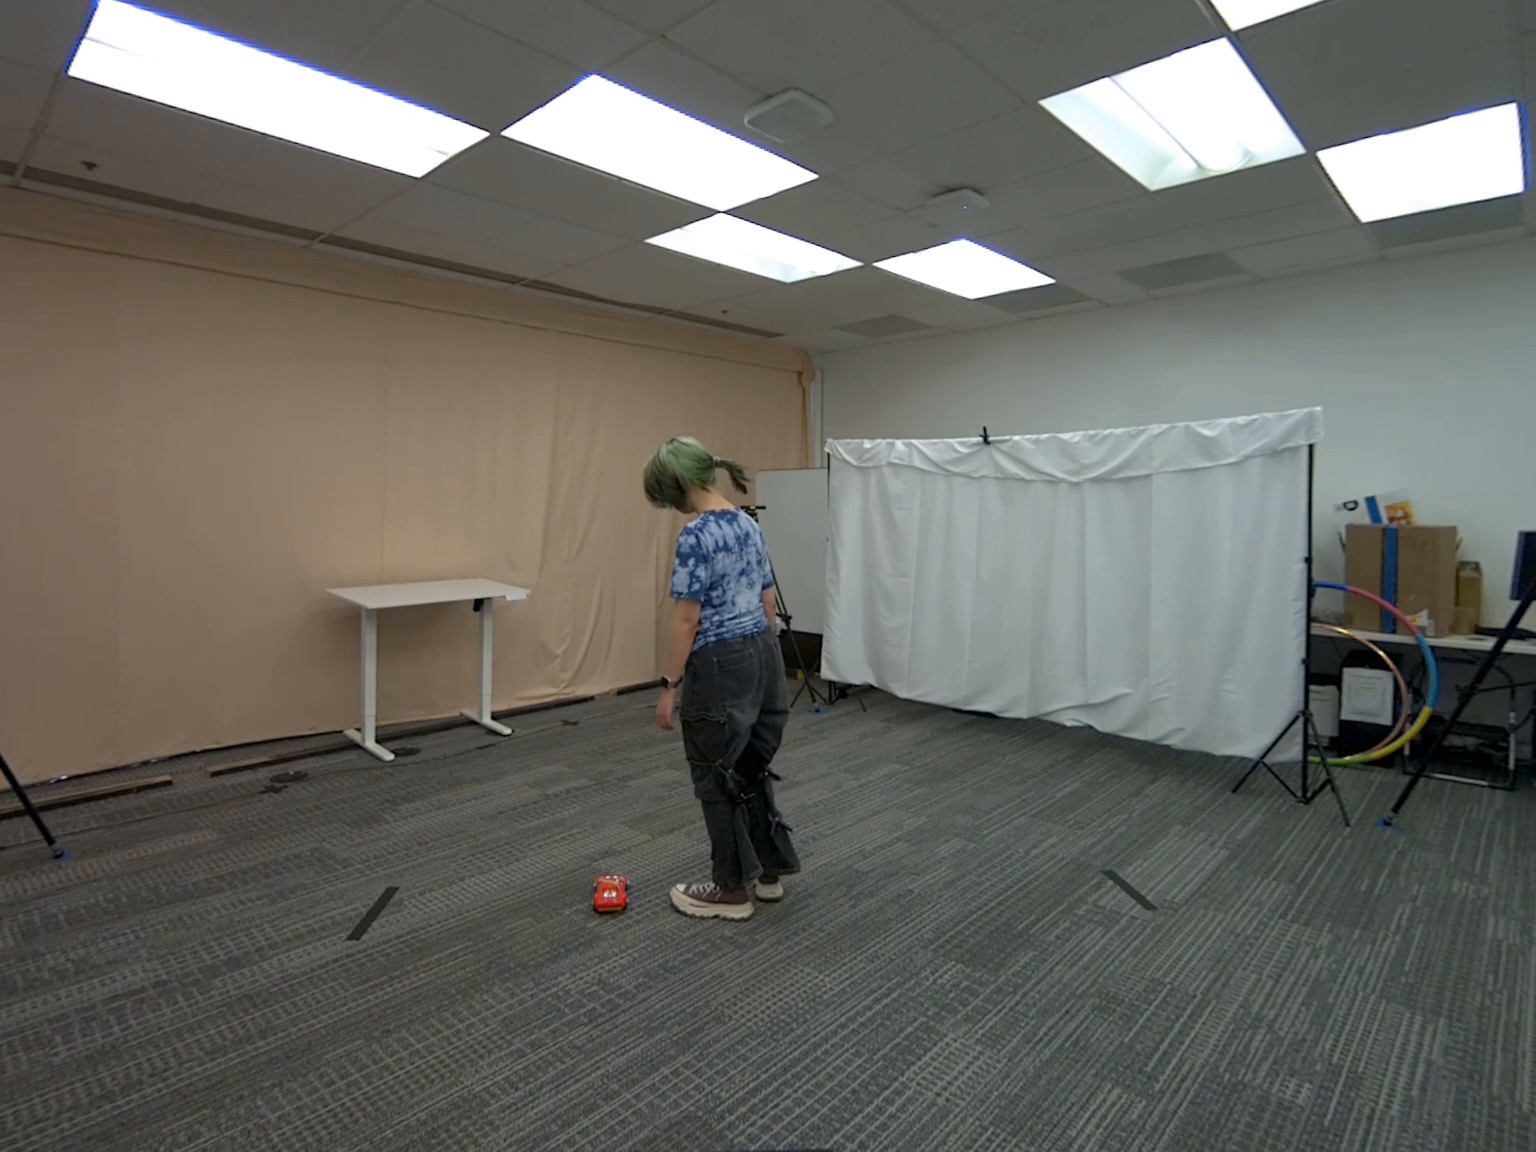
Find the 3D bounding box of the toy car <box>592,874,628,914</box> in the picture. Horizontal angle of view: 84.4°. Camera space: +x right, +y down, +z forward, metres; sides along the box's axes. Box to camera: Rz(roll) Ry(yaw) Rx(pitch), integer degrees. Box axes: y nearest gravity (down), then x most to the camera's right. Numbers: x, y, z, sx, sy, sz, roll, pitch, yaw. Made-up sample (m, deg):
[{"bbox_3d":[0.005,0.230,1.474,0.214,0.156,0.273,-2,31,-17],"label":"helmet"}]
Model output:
[{"bbox_3d":[-0.554,1.123,2.963,0.129,0.083,0.255,0,-7,-6],"label":"toy car"}]
